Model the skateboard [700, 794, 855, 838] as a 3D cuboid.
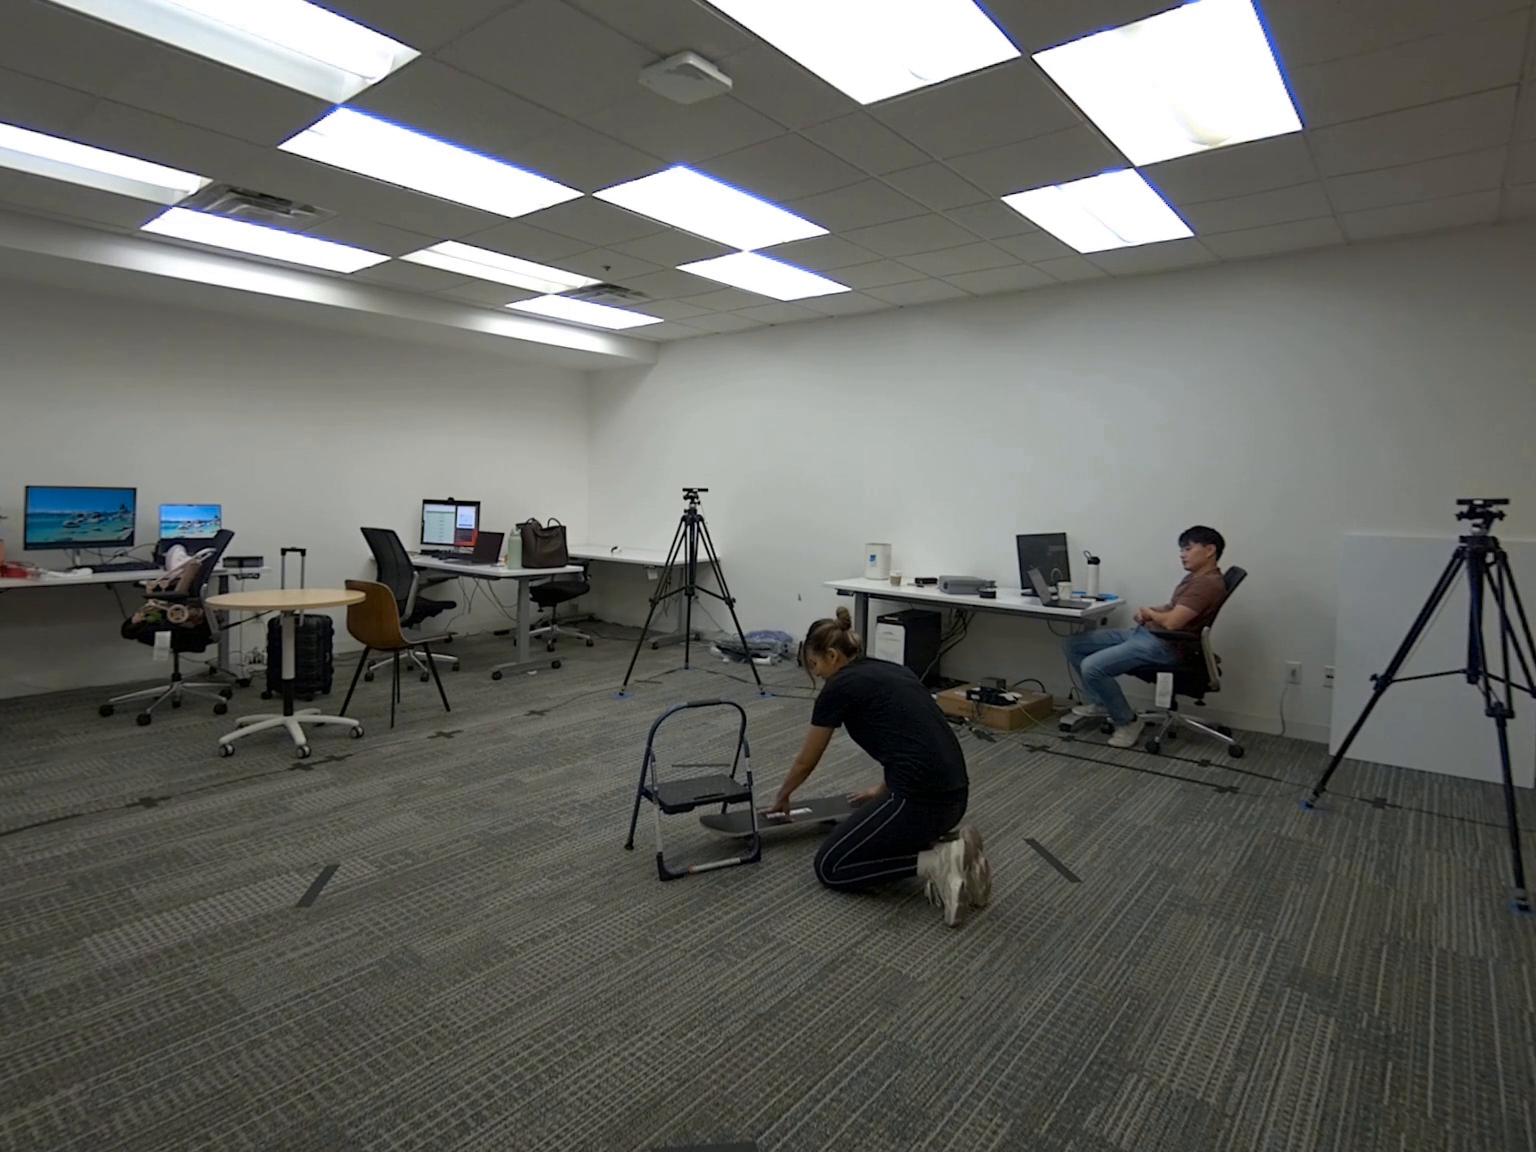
[{"bbox_3d":[0.070,0.975,3.431,0.767,0.110,0.199,-1,8,-25],"label":"skateboard"}]
